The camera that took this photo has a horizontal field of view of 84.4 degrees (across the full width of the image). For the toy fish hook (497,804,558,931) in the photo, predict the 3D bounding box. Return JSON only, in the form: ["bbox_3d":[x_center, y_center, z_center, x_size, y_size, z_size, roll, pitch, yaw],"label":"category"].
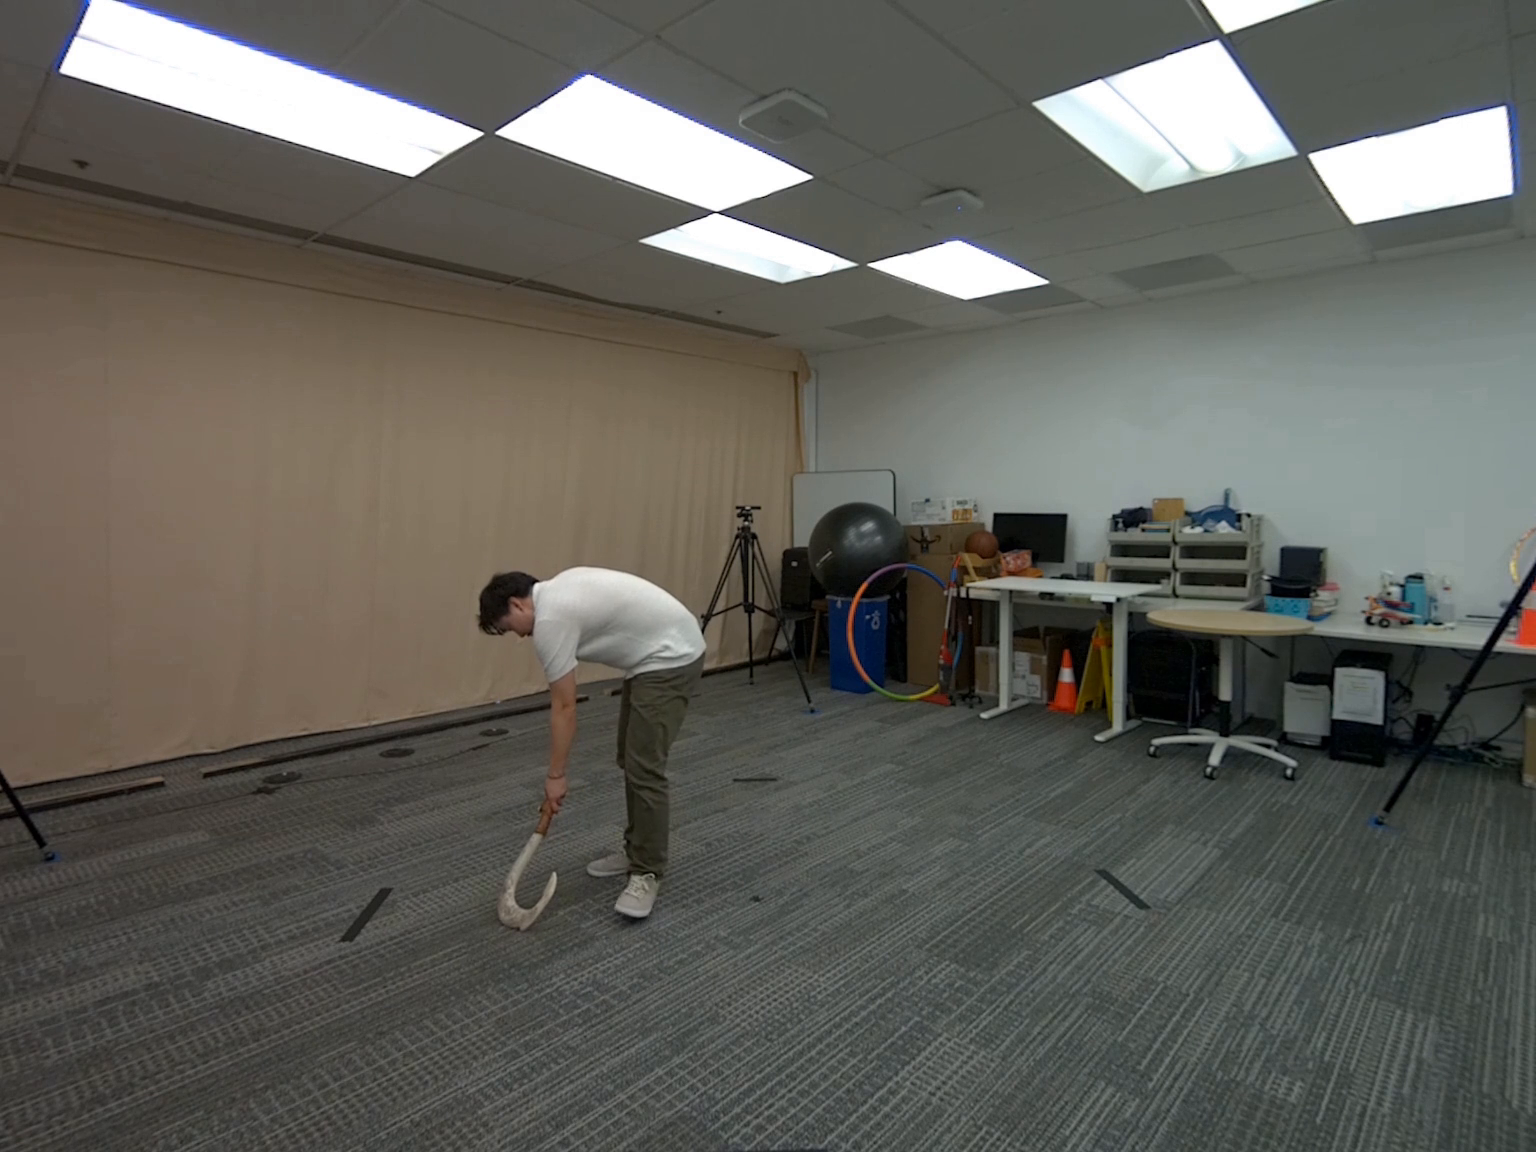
[{"bbox_3d":[-0.768,0.951,2.904,0.231,0.510,0.047,0,-32,29],"label":"toy fish hook"}]
